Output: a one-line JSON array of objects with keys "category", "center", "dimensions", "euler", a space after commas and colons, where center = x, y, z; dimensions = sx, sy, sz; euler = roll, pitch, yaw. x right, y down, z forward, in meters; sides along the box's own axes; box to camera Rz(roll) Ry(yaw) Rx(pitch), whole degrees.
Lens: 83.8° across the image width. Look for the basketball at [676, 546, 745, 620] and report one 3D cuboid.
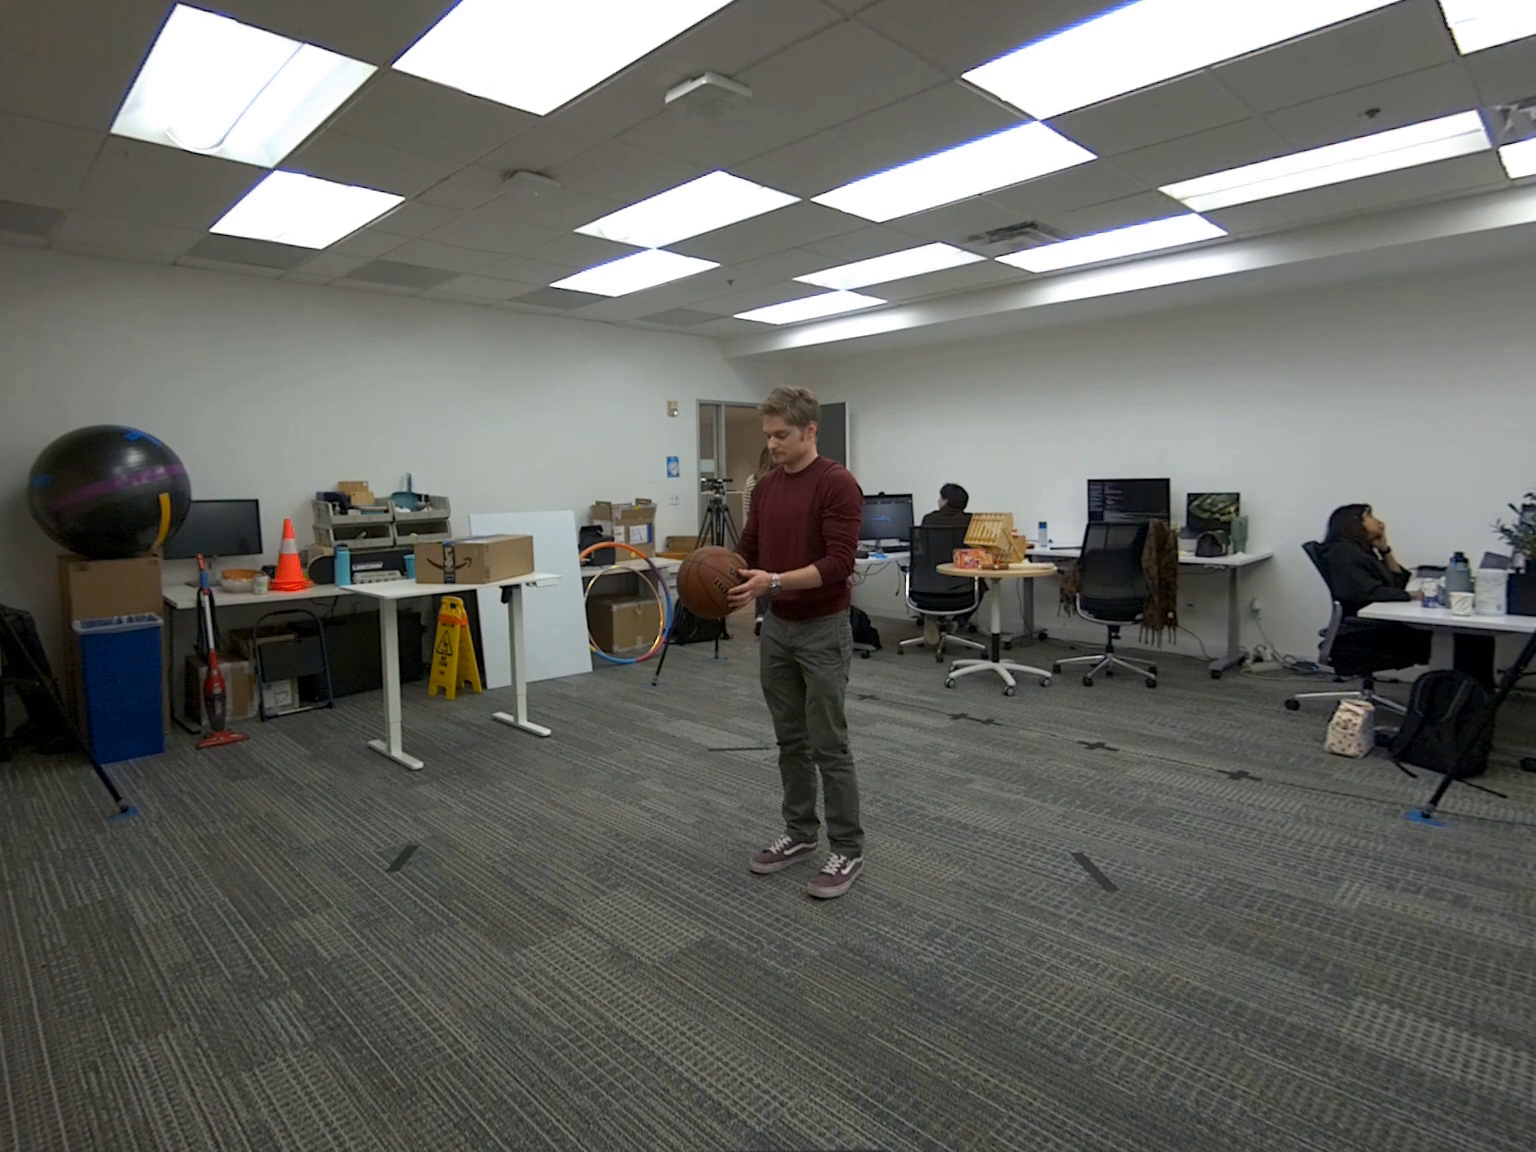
[{"category": "basketball", "center": [-0.174, 0.022, 2.810], "dimensions": [0.236, 0.235, 0.237], "euler": [-1, 5, -2]}]
